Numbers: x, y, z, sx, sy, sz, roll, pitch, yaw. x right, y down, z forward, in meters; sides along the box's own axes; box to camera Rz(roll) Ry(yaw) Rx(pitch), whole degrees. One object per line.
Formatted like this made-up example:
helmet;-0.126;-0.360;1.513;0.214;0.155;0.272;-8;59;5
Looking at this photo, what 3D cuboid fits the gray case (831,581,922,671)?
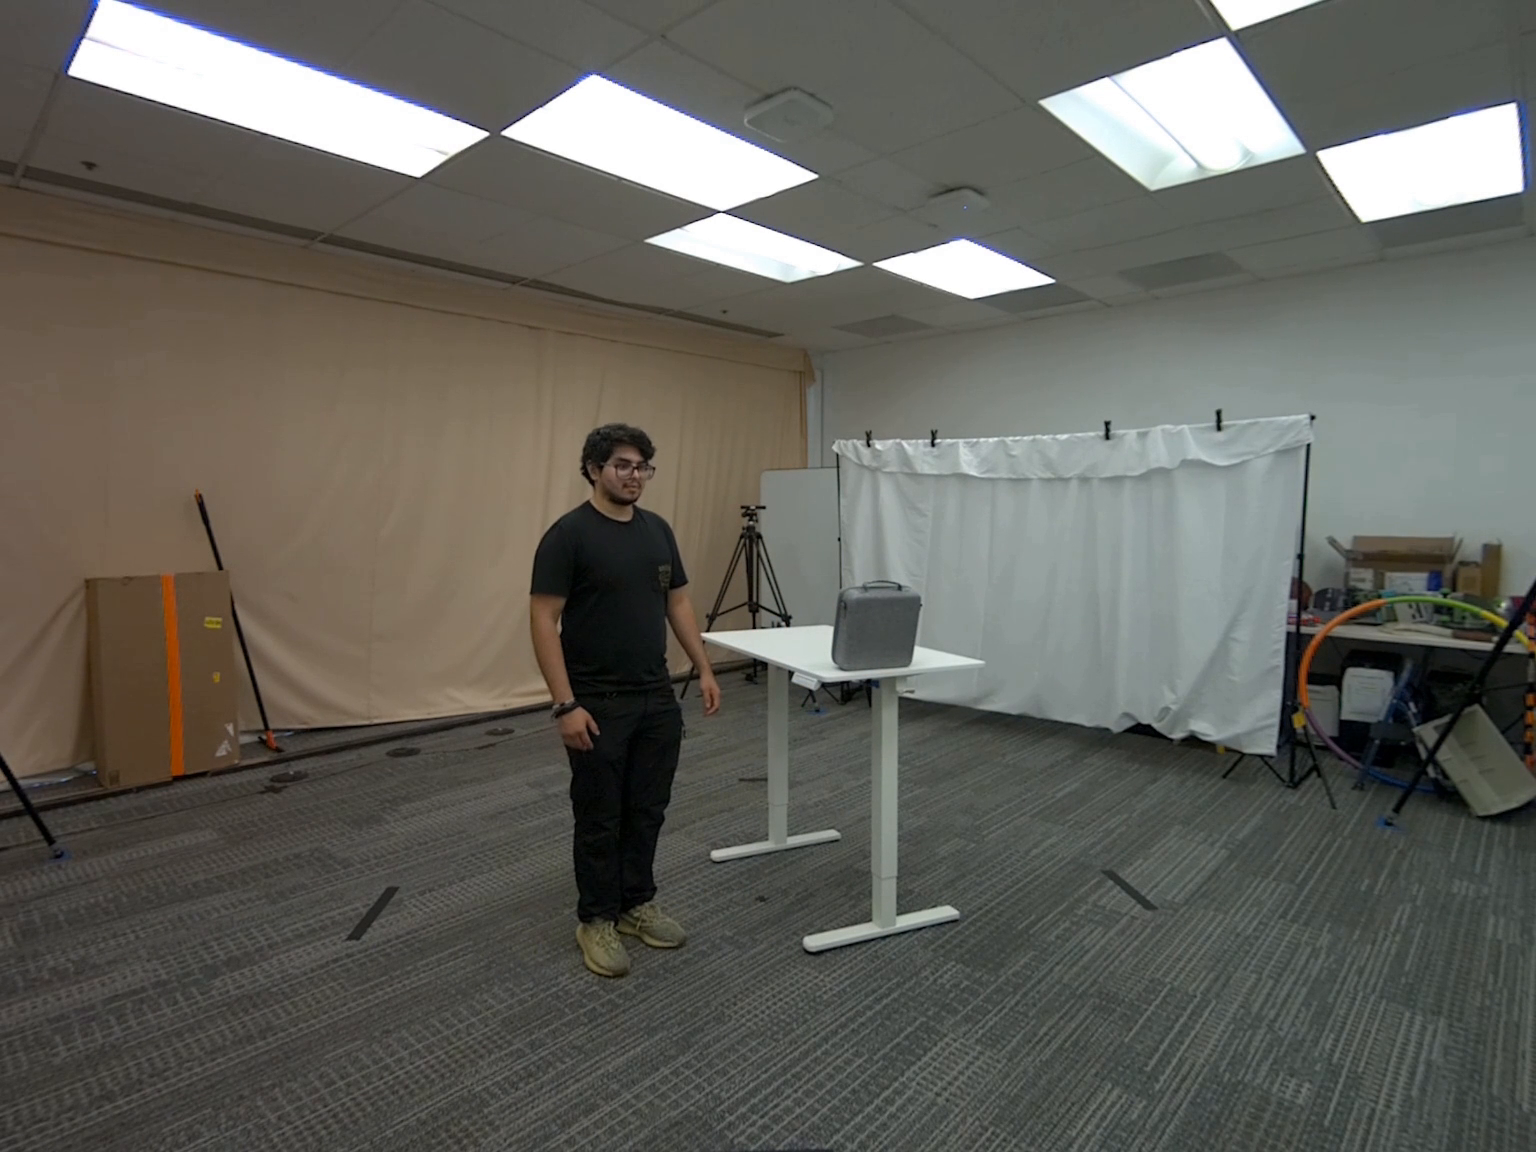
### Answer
gray case;0.337;0.165;2.586;0.252;0.259;0.107;0;13;-20
